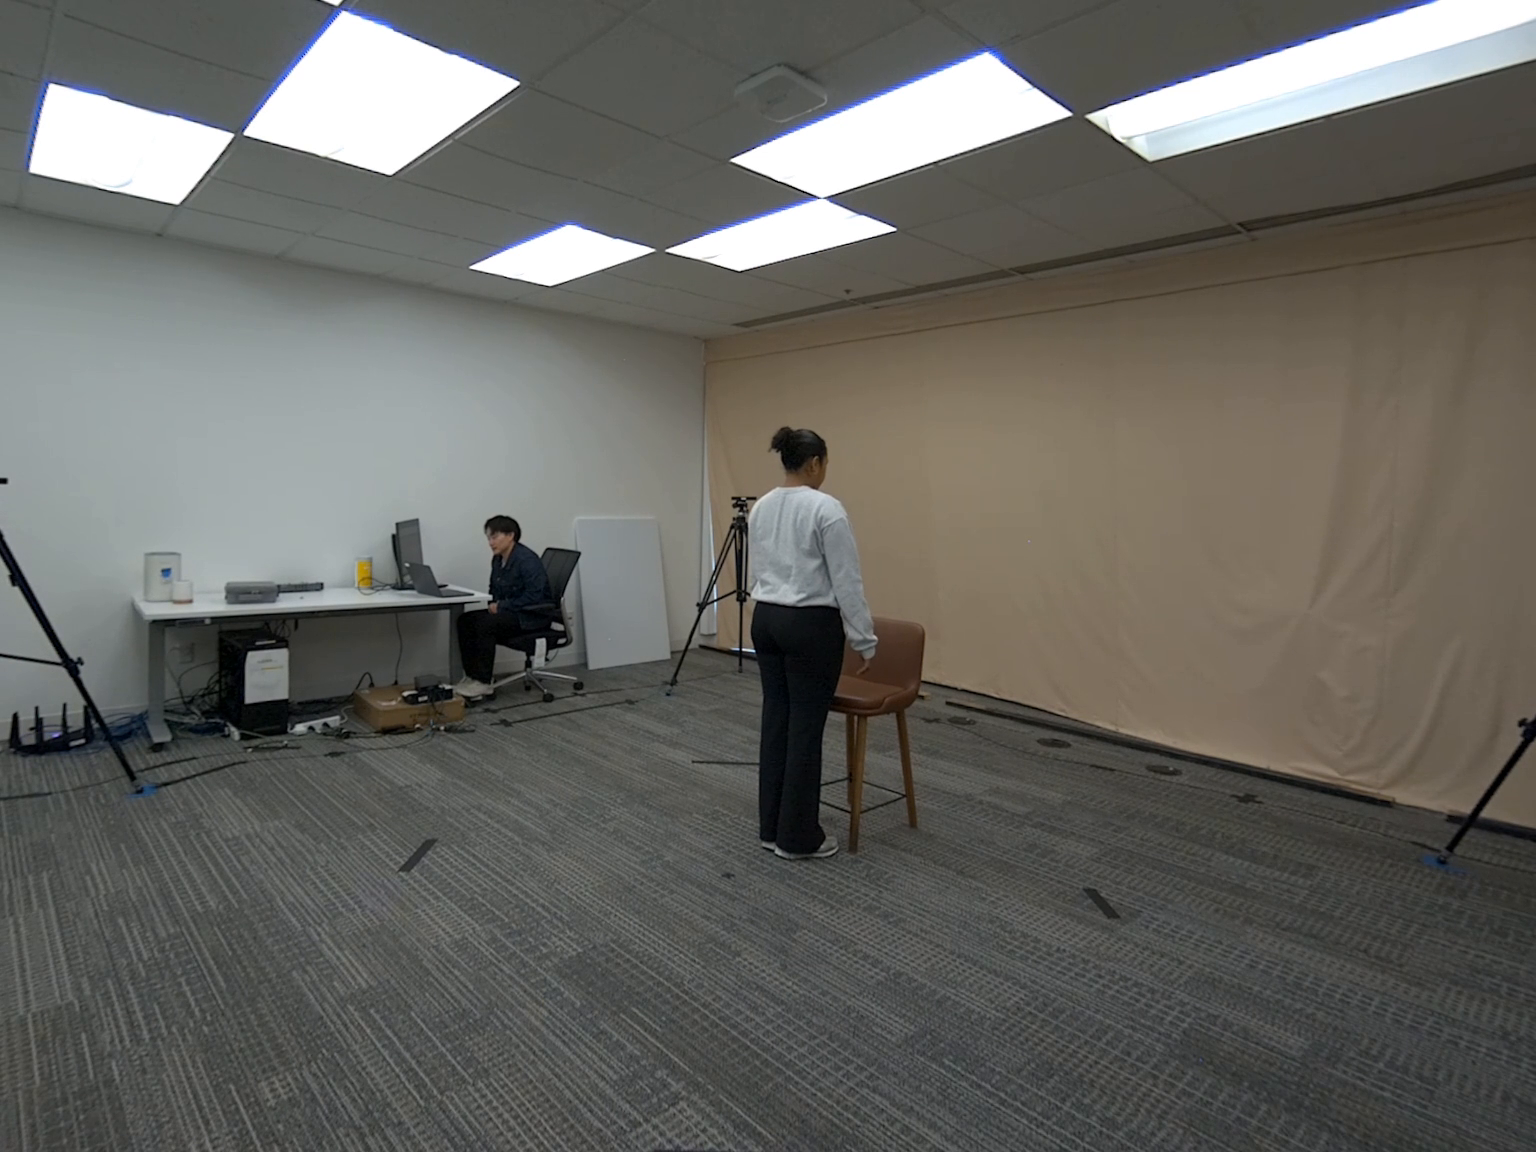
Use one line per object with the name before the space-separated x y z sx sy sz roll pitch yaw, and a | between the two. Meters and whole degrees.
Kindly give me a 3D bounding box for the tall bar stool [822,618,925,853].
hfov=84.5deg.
tall bar stool | 0.361 0.633 3.598 0.456 0.889 0.468 2 2 -43
